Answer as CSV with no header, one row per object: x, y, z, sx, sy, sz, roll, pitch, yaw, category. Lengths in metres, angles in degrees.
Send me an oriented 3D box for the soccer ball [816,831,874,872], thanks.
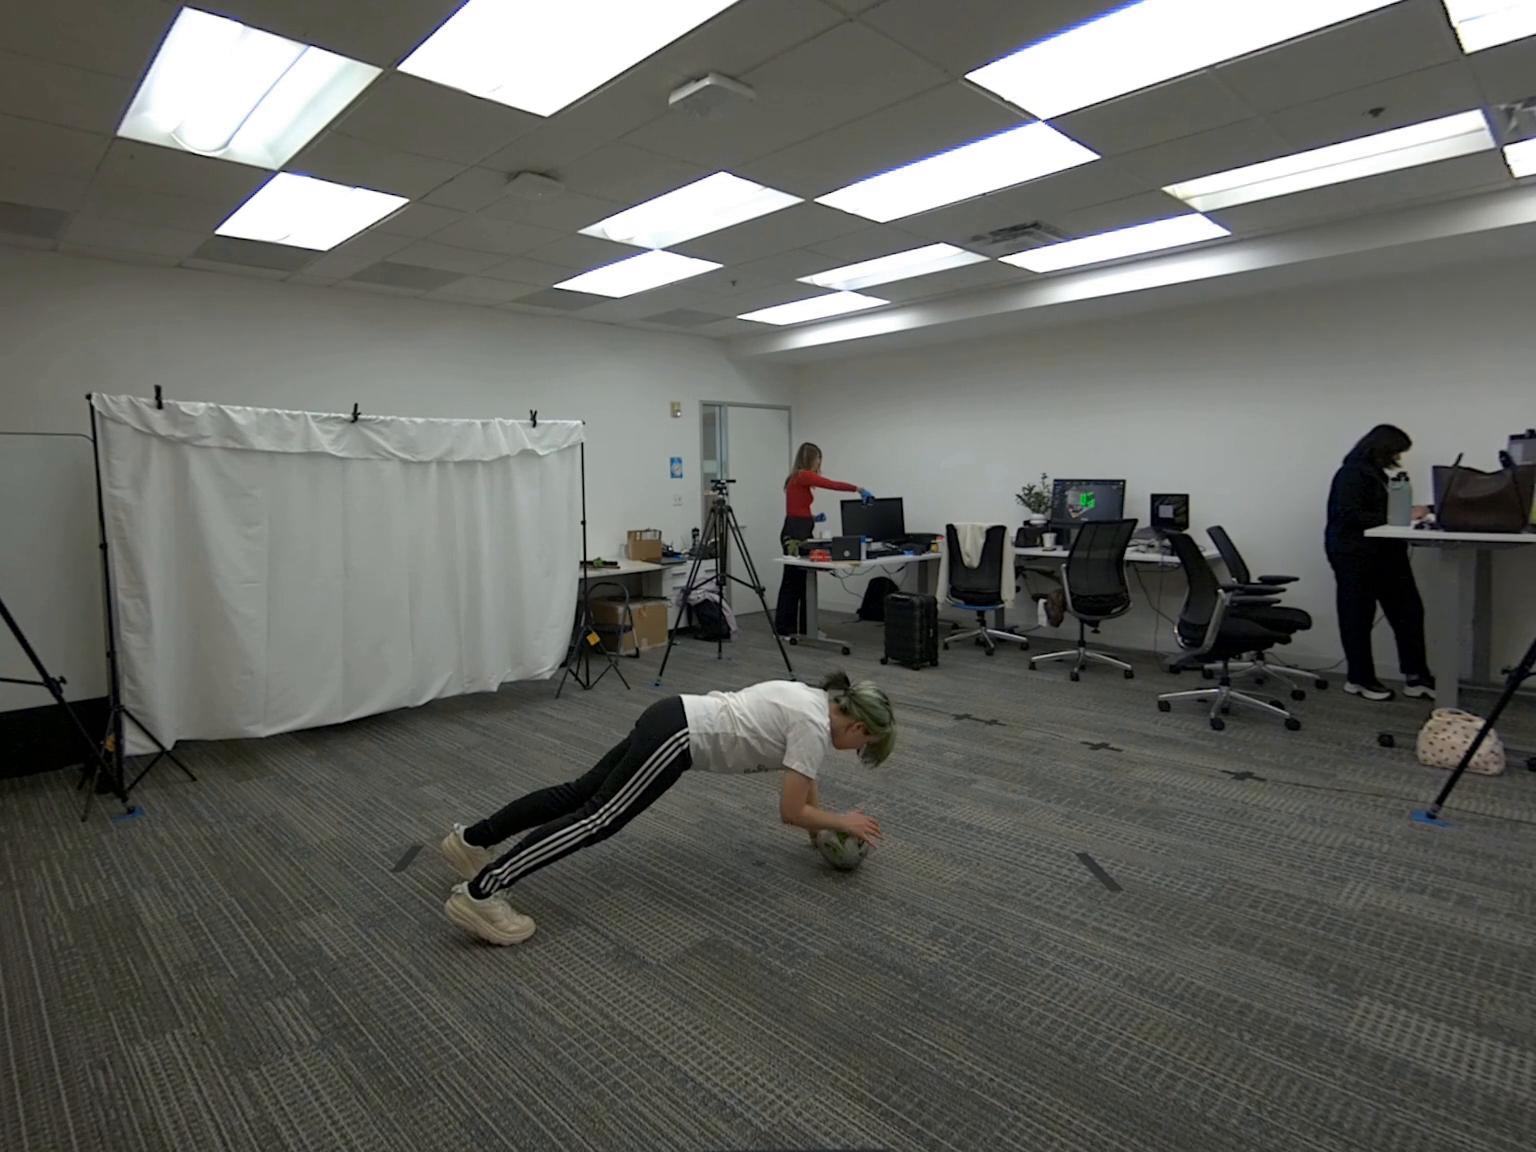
0.275,0.950,3.065,0.187,0.187,0.188,-1,5,-2,soccer ball
